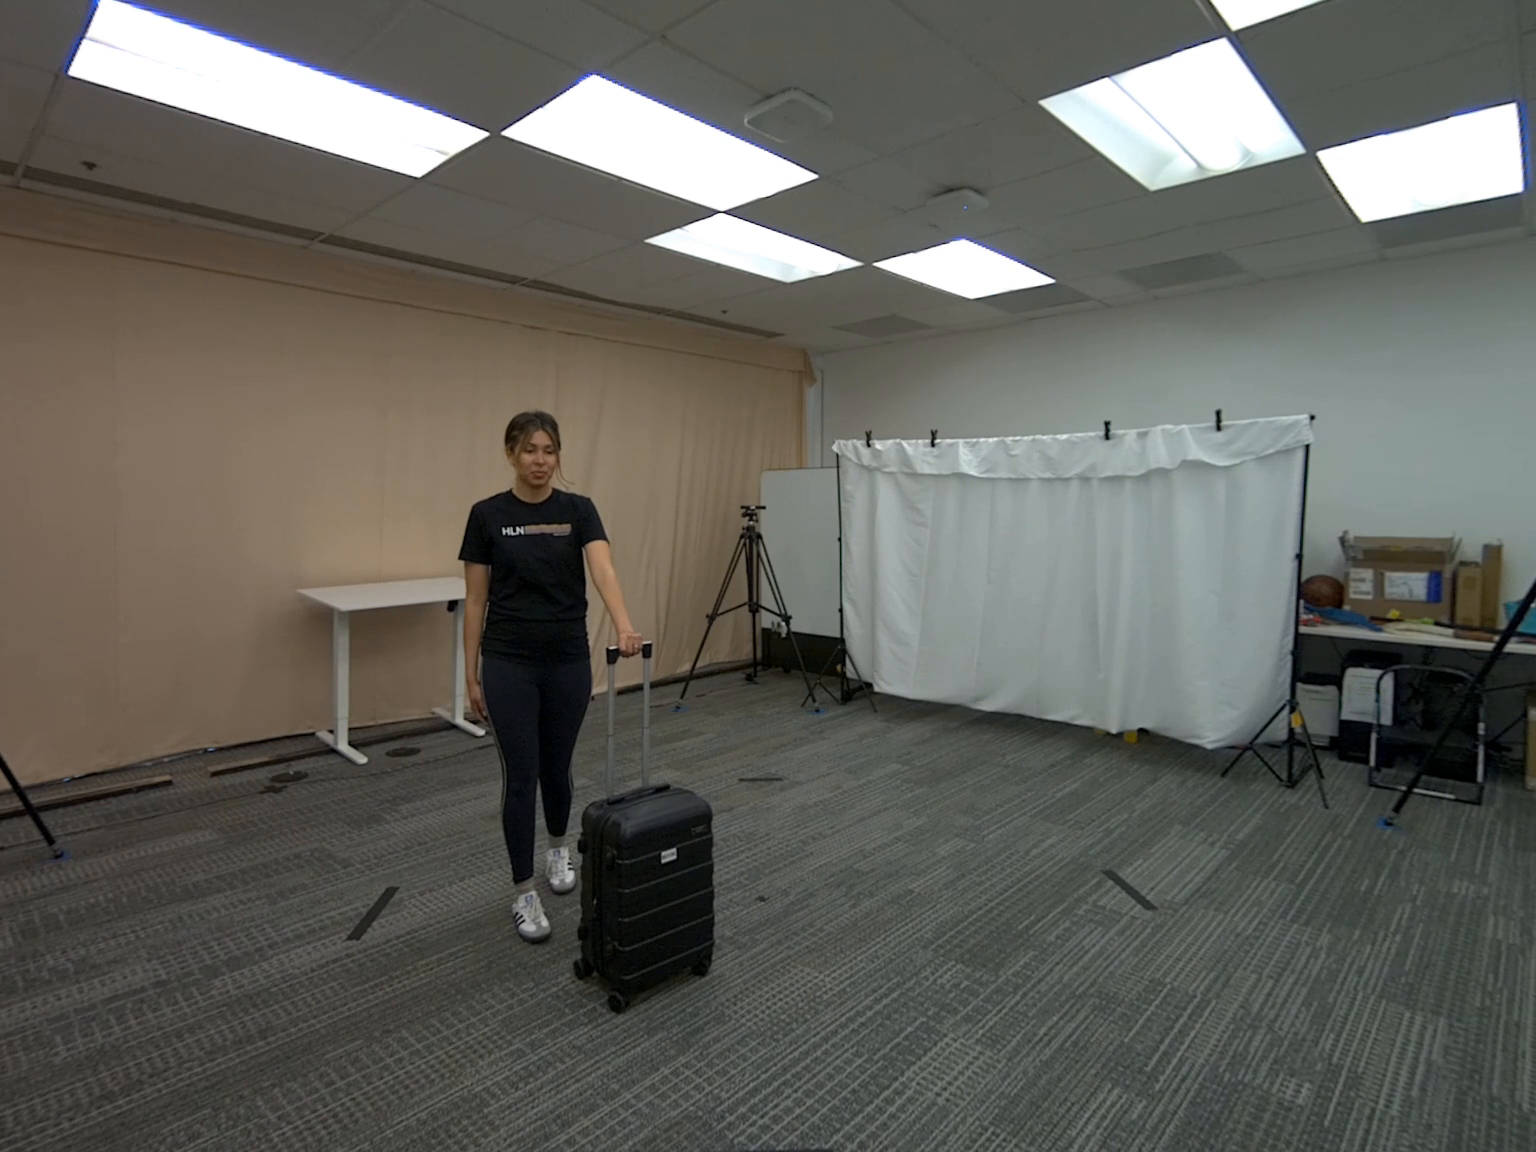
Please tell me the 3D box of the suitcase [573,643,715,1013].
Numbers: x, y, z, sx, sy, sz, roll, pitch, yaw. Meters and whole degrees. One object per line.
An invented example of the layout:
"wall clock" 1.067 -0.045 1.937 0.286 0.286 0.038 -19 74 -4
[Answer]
"suitcase" -0.345 0.714 2.458 0.372 0.975 0.266 -2 7 -40
